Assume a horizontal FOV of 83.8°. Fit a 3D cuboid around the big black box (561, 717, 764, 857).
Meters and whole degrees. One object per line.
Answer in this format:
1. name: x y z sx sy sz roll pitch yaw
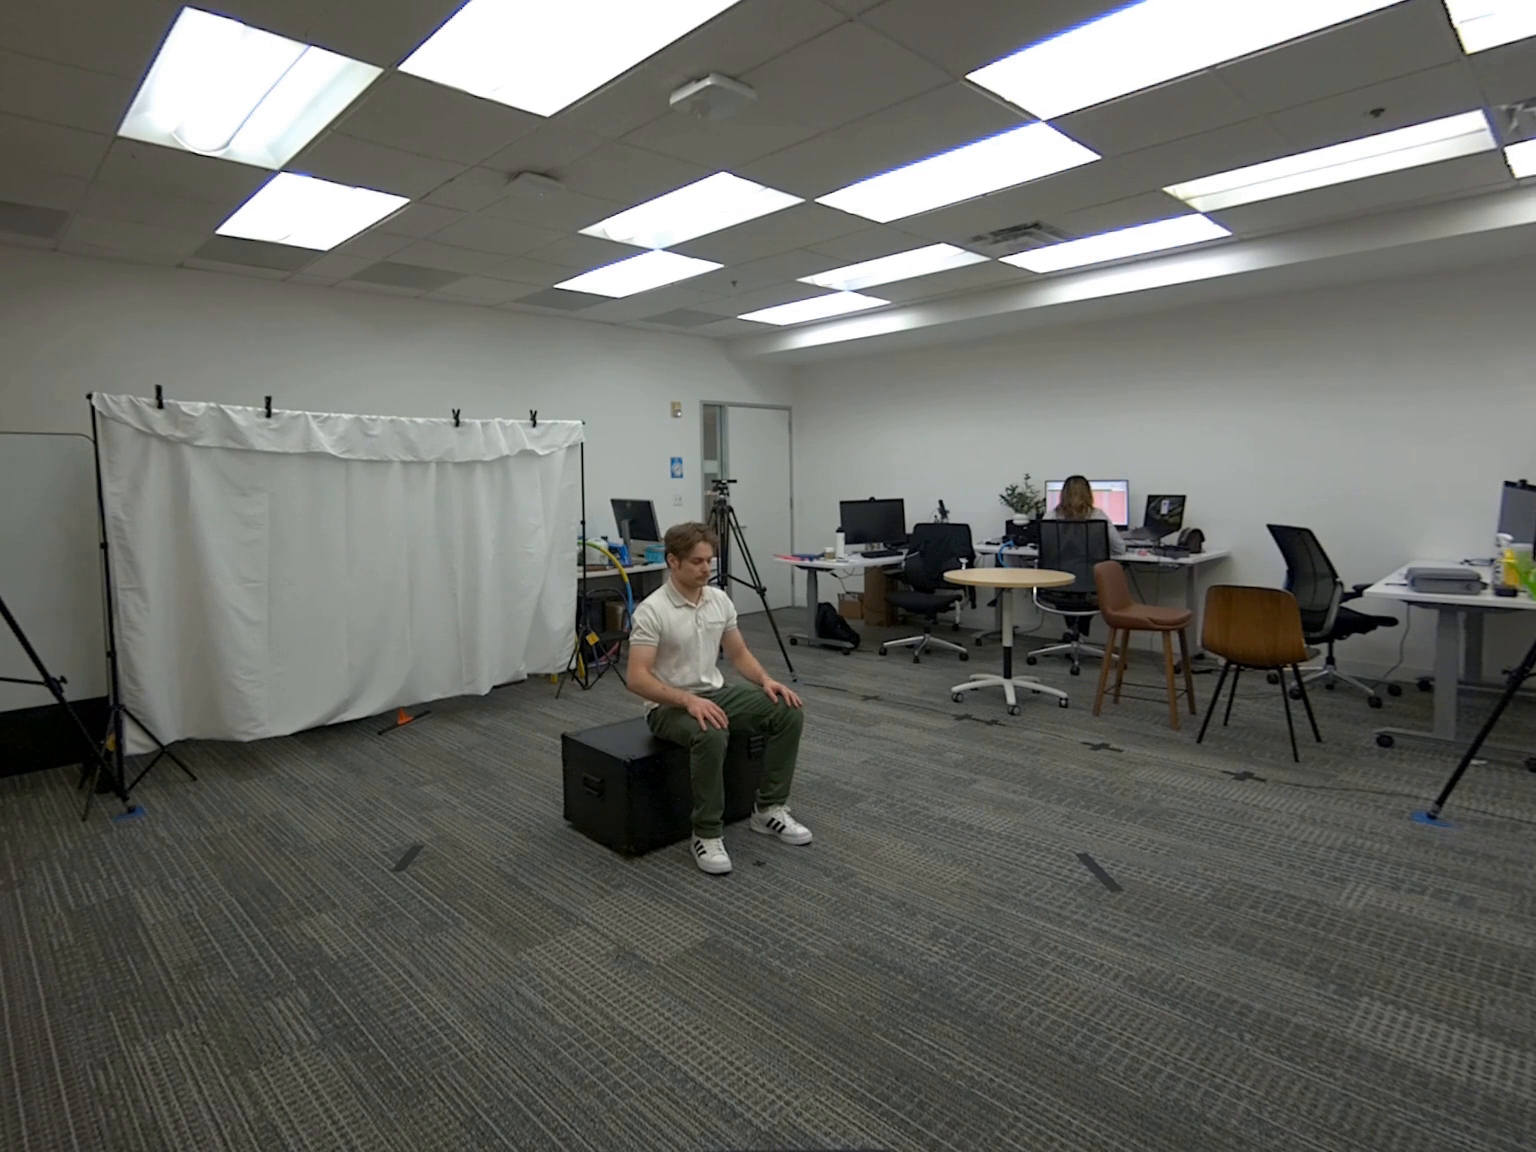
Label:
1. big black box: -0.364 0.810 3.578 0.846 0.384 0.539 -7 6 -41
